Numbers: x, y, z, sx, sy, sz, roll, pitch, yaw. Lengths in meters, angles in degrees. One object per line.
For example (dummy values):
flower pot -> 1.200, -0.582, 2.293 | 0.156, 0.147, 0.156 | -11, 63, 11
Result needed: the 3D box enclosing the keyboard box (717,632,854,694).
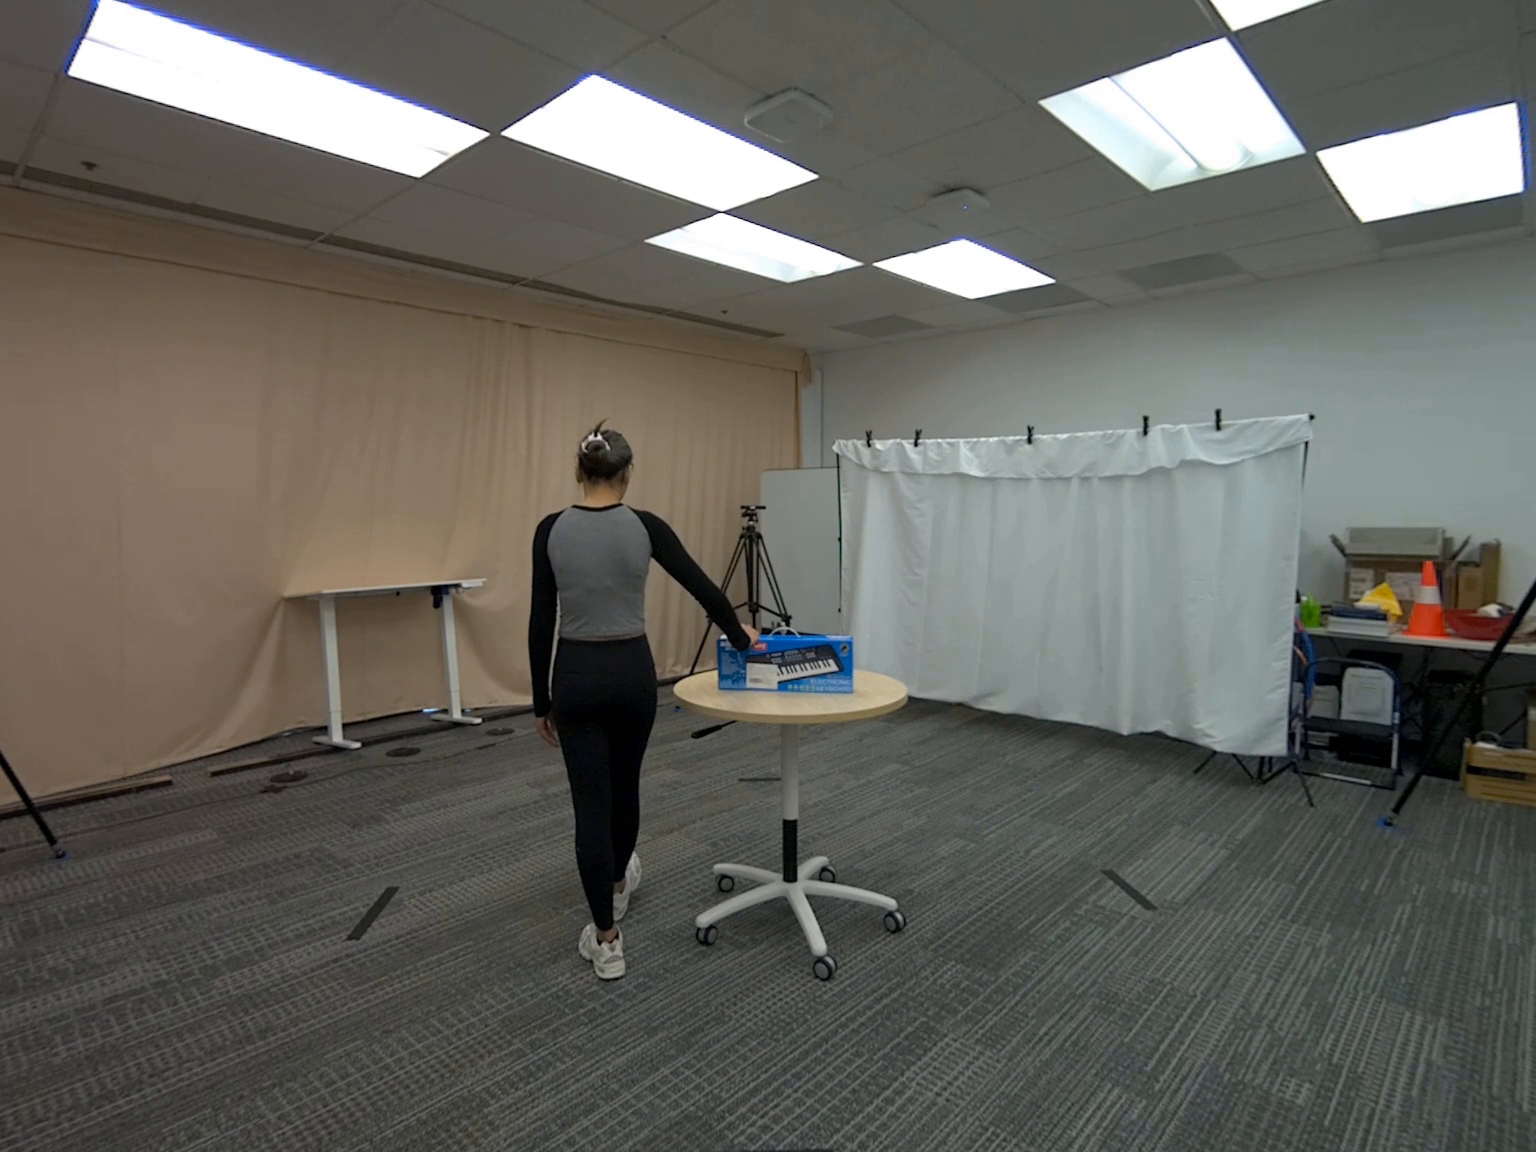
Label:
keyboard box -> 0.057, 0.282, 2.722 | 0.442, 0.175, 0.058 | 0, 6, 12
